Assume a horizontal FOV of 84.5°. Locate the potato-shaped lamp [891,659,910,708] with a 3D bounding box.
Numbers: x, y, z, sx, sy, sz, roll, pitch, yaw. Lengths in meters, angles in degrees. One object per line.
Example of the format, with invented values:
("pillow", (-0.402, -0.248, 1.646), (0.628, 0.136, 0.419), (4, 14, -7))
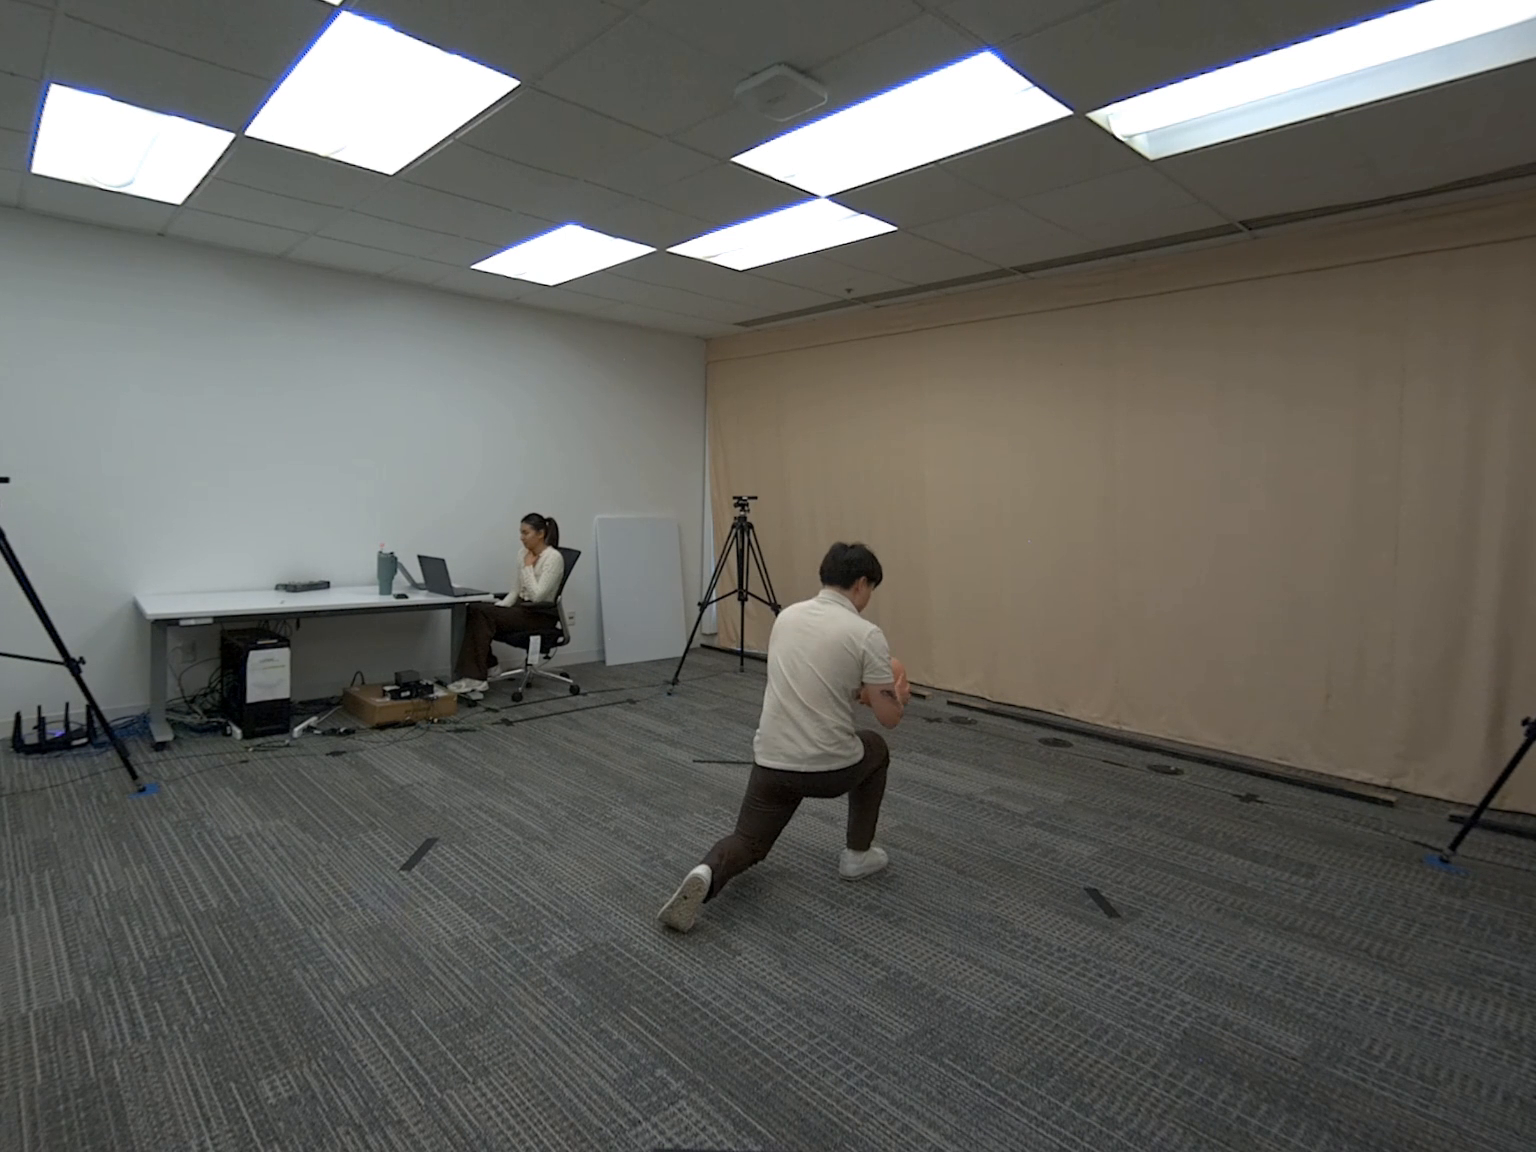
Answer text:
("potato-shaped lamp", (0.433, 0.400, 3.179), (0.167, 0.198, 0.169), (6, 0, -44))
